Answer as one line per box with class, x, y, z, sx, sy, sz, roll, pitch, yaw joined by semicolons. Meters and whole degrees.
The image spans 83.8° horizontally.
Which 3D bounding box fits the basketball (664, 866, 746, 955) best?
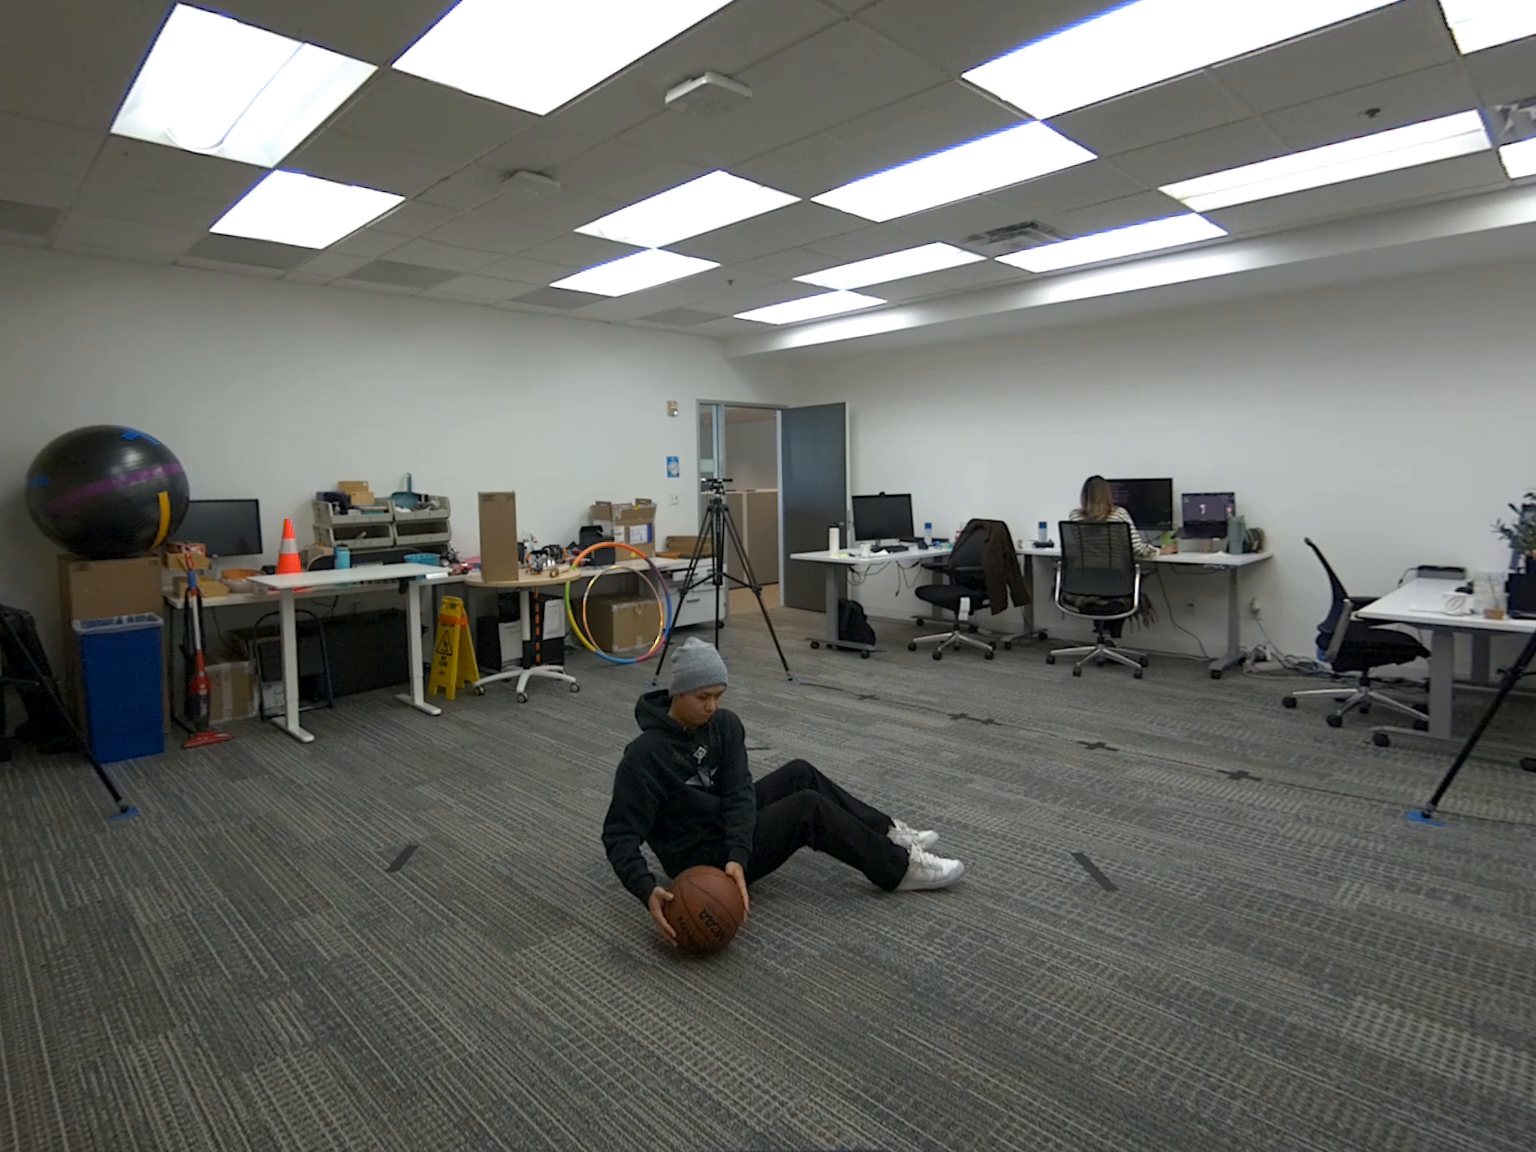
basketball;-0.189;0.991;2.552;0.236;0.235;0.237;-1;5;-2
